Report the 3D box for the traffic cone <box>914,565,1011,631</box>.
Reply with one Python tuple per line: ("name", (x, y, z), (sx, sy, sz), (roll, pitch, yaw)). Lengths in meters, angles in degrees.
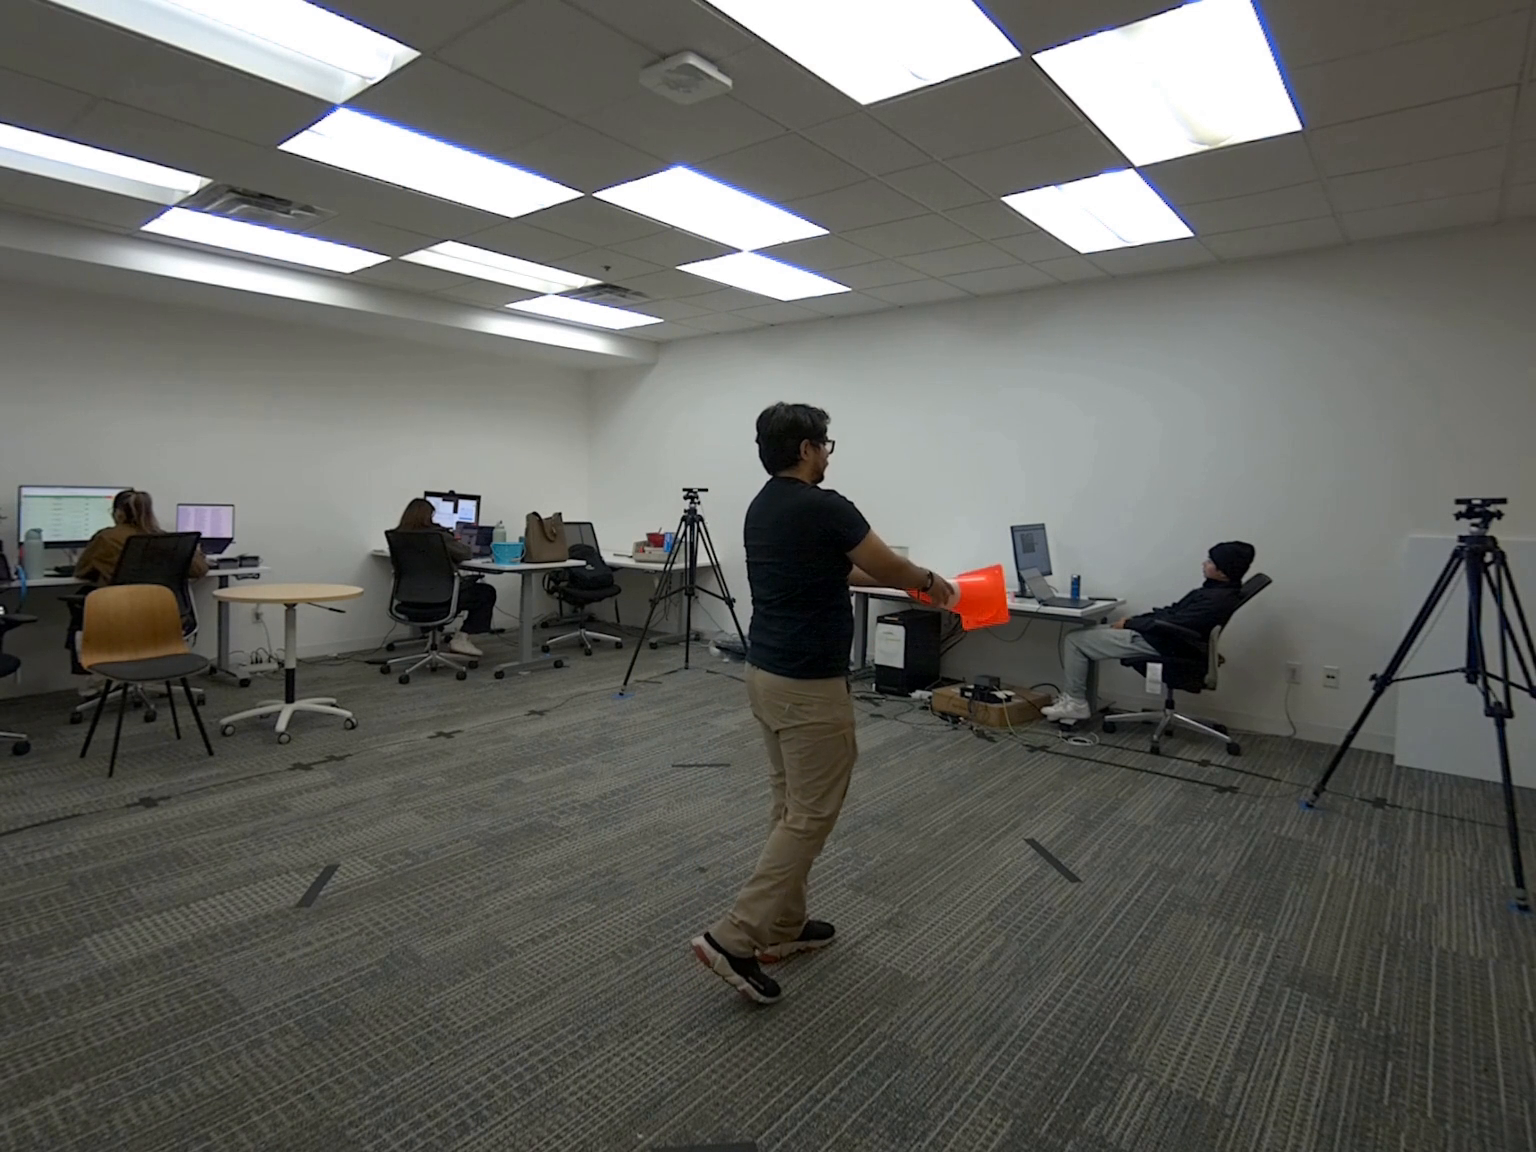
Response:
("traffic cone", (0.578, 0.059, 2.820), (0.372, 0.208, 0.207), (3, -16, -34))
